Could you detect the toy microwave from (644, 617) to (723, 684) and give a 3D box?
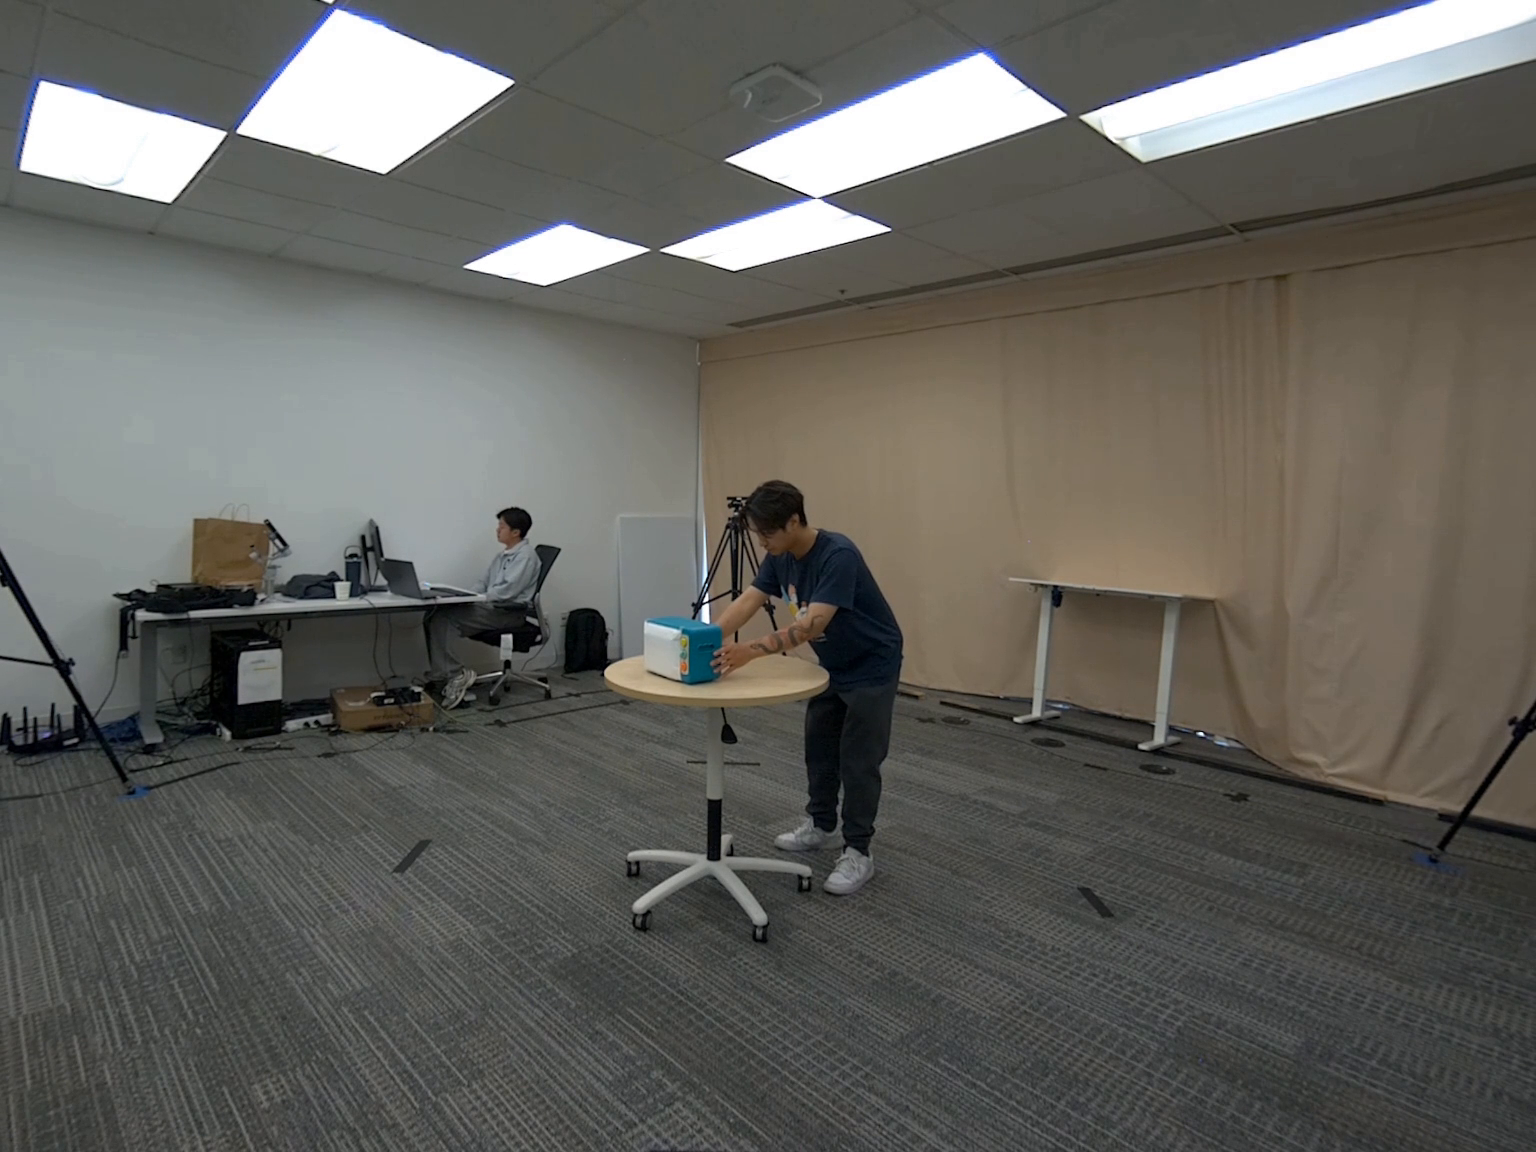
[{"bbox_3d":[-0.295,0.244,2.783,0.149,0.183,0.293,-3,6,-39],"label":"toy microwave"}]
